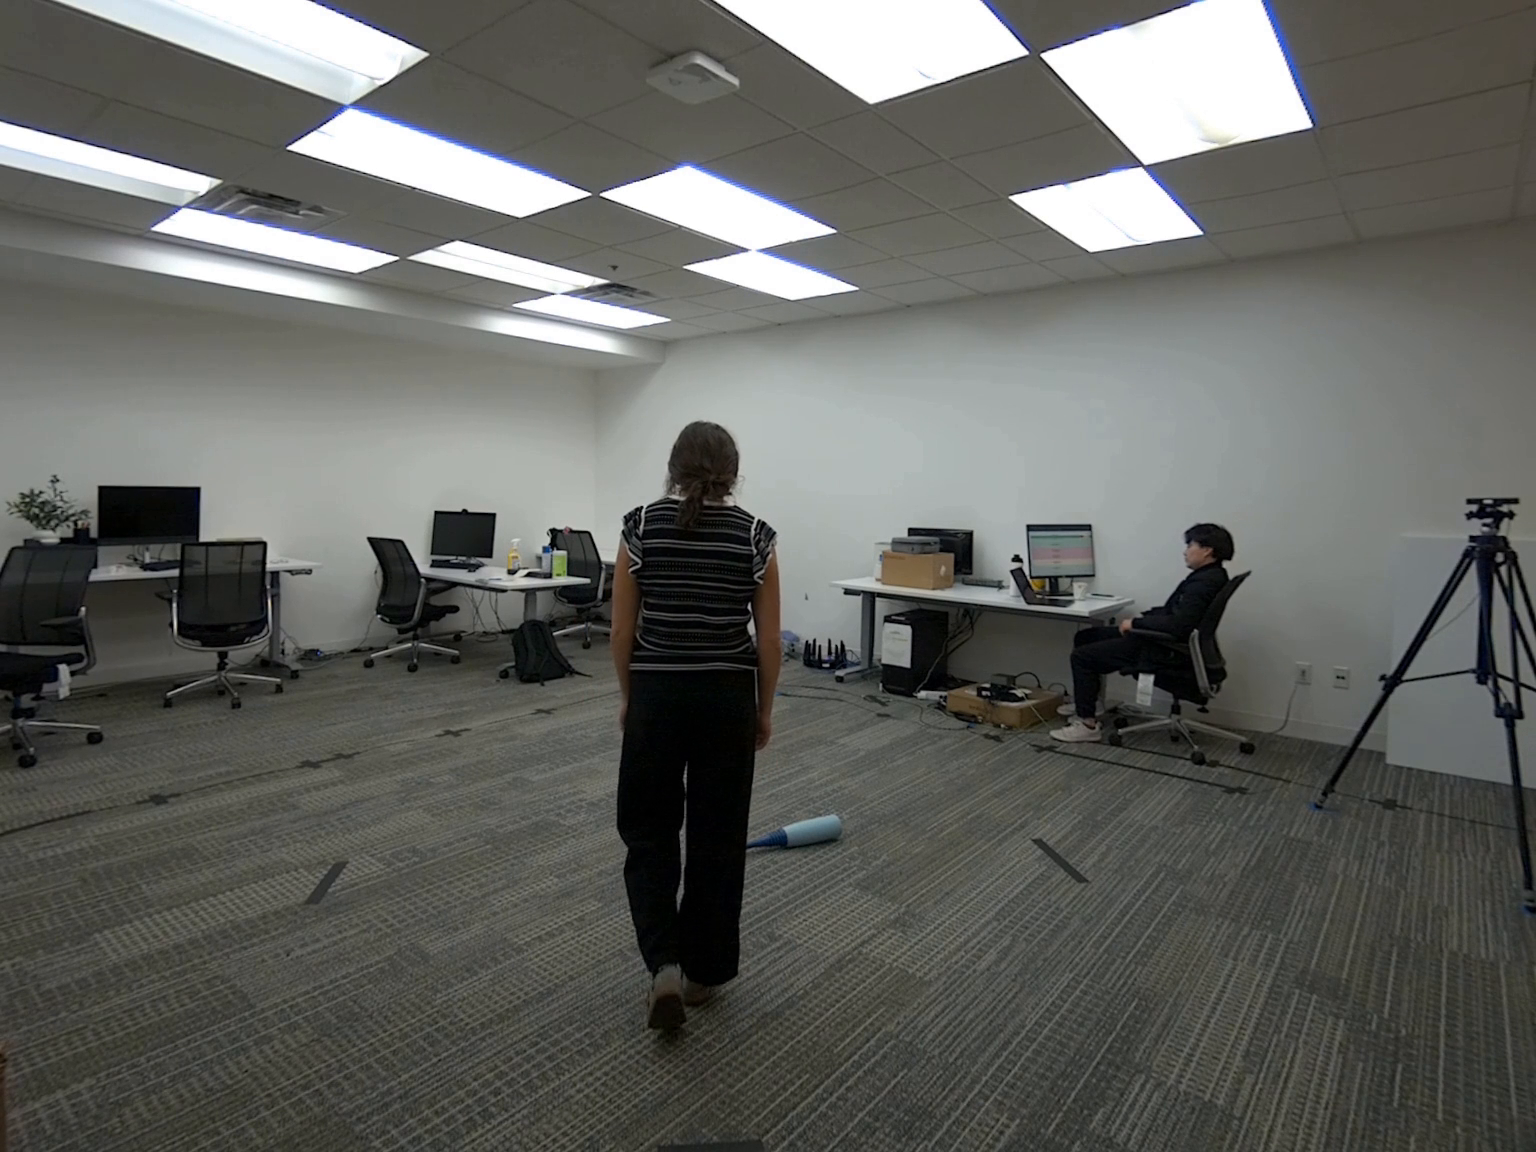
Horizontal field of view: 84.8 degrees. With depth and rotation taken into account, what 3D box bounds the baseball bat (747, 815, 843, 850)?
[{"bbox_3d":[0.034,1.018,3.301,0.531,0.088,0.091,-5,6,-24],"label":"baseball bat"}]
